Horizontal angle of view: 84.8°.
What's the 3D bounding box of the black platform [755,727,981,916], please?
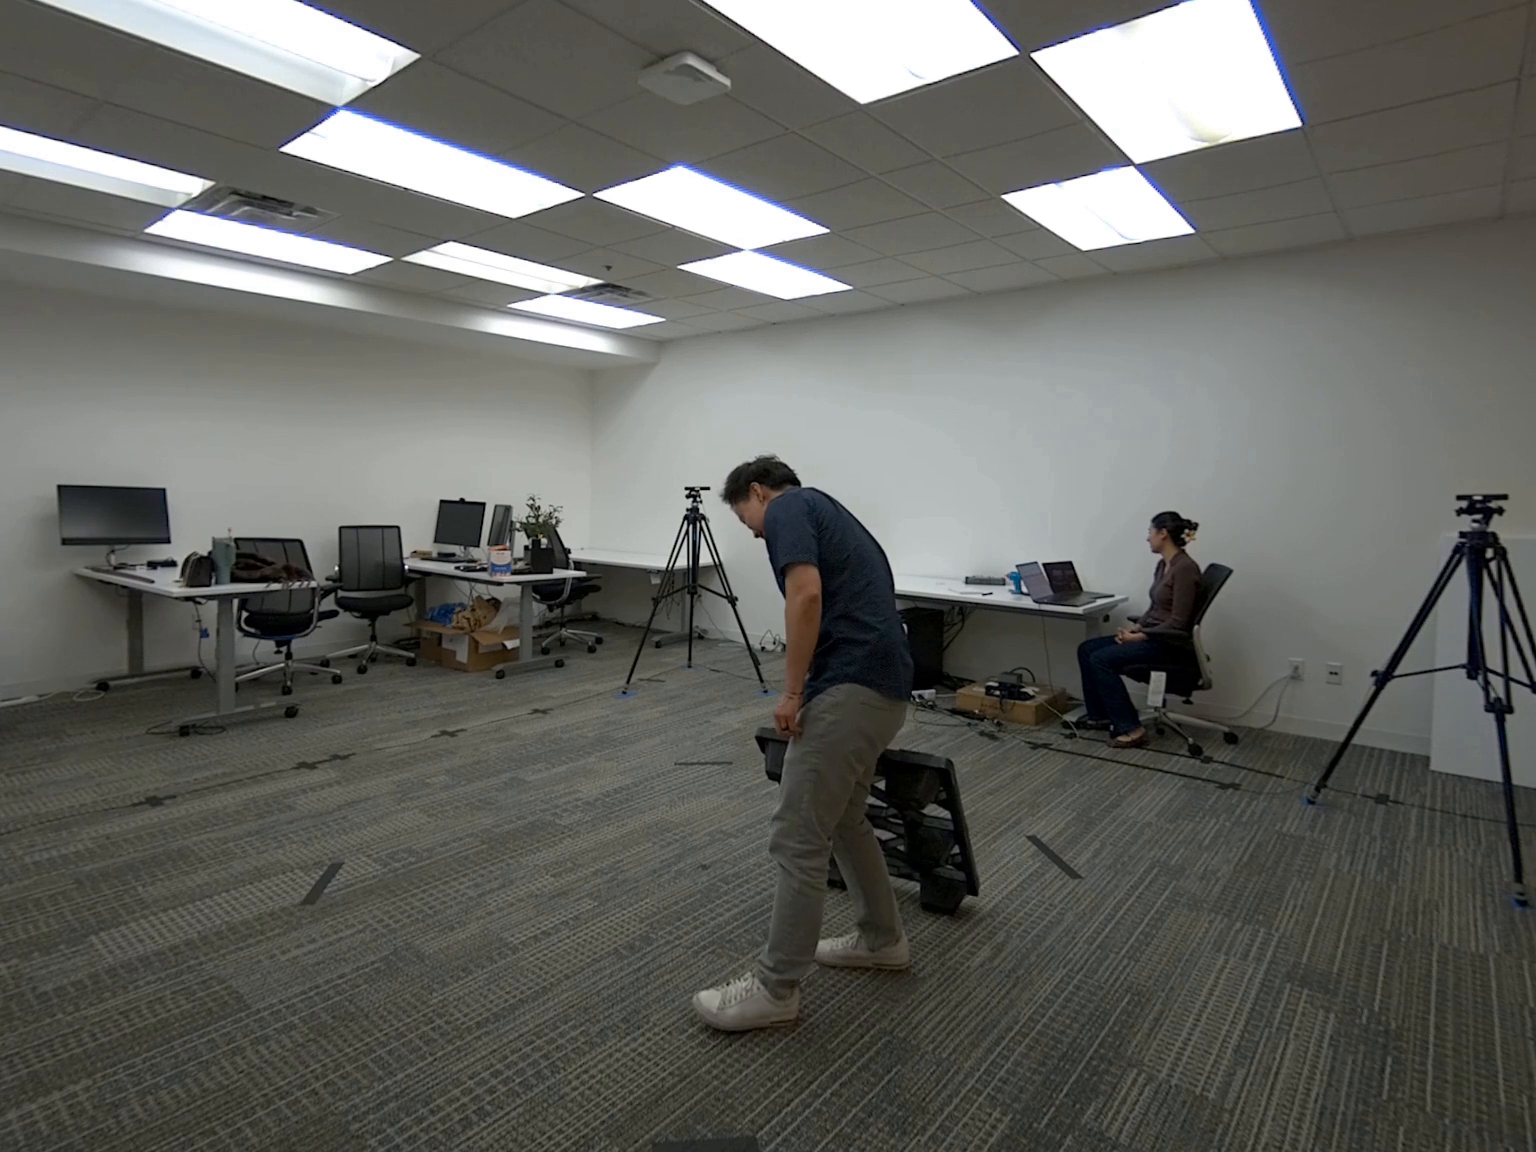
[{"bbox_3d":[0.316,0.803,2.706,0.622,0.776,0.145,5,47,26],"label":"black platform"}]
